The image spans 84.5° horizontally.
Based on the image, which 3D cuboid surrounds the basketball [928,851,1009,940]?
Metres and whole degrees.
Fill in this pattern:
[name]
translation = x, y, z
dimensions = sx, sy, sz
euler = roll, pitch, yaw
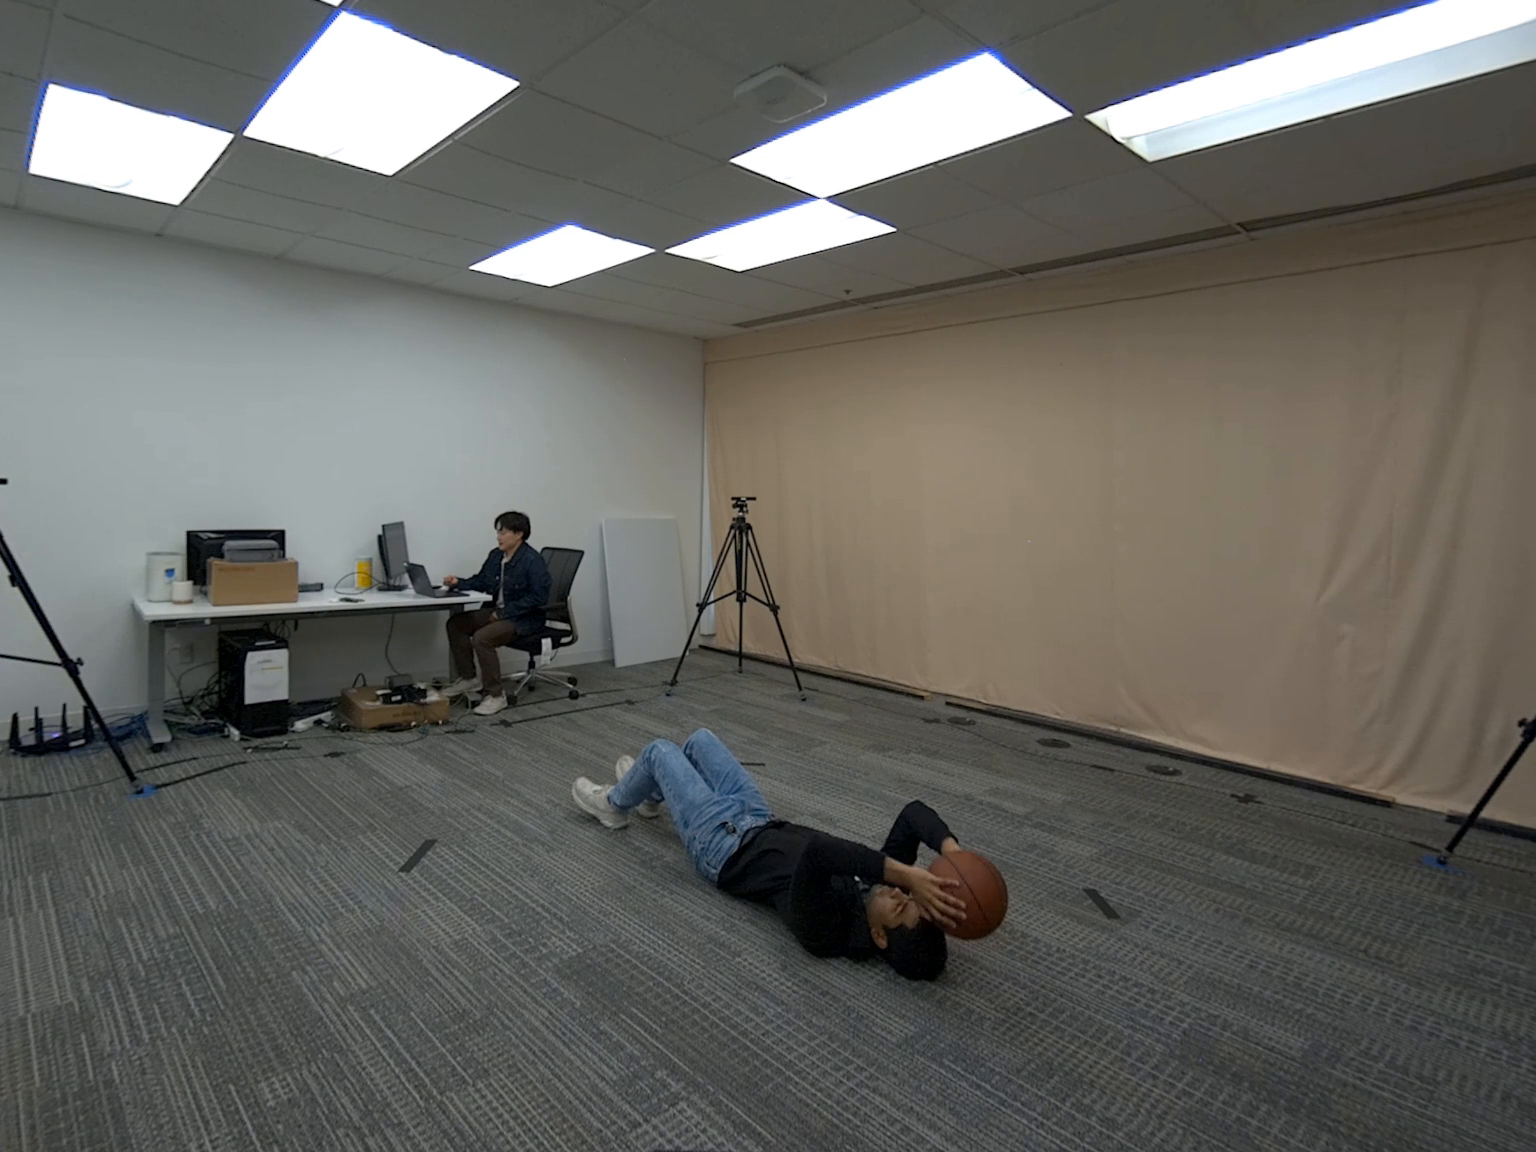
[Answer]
[basketball]
translation = 0.544, 0.899, 2.422
dimensions = 0.236, 0.235, 0.237
euler = 1, 4, -1
